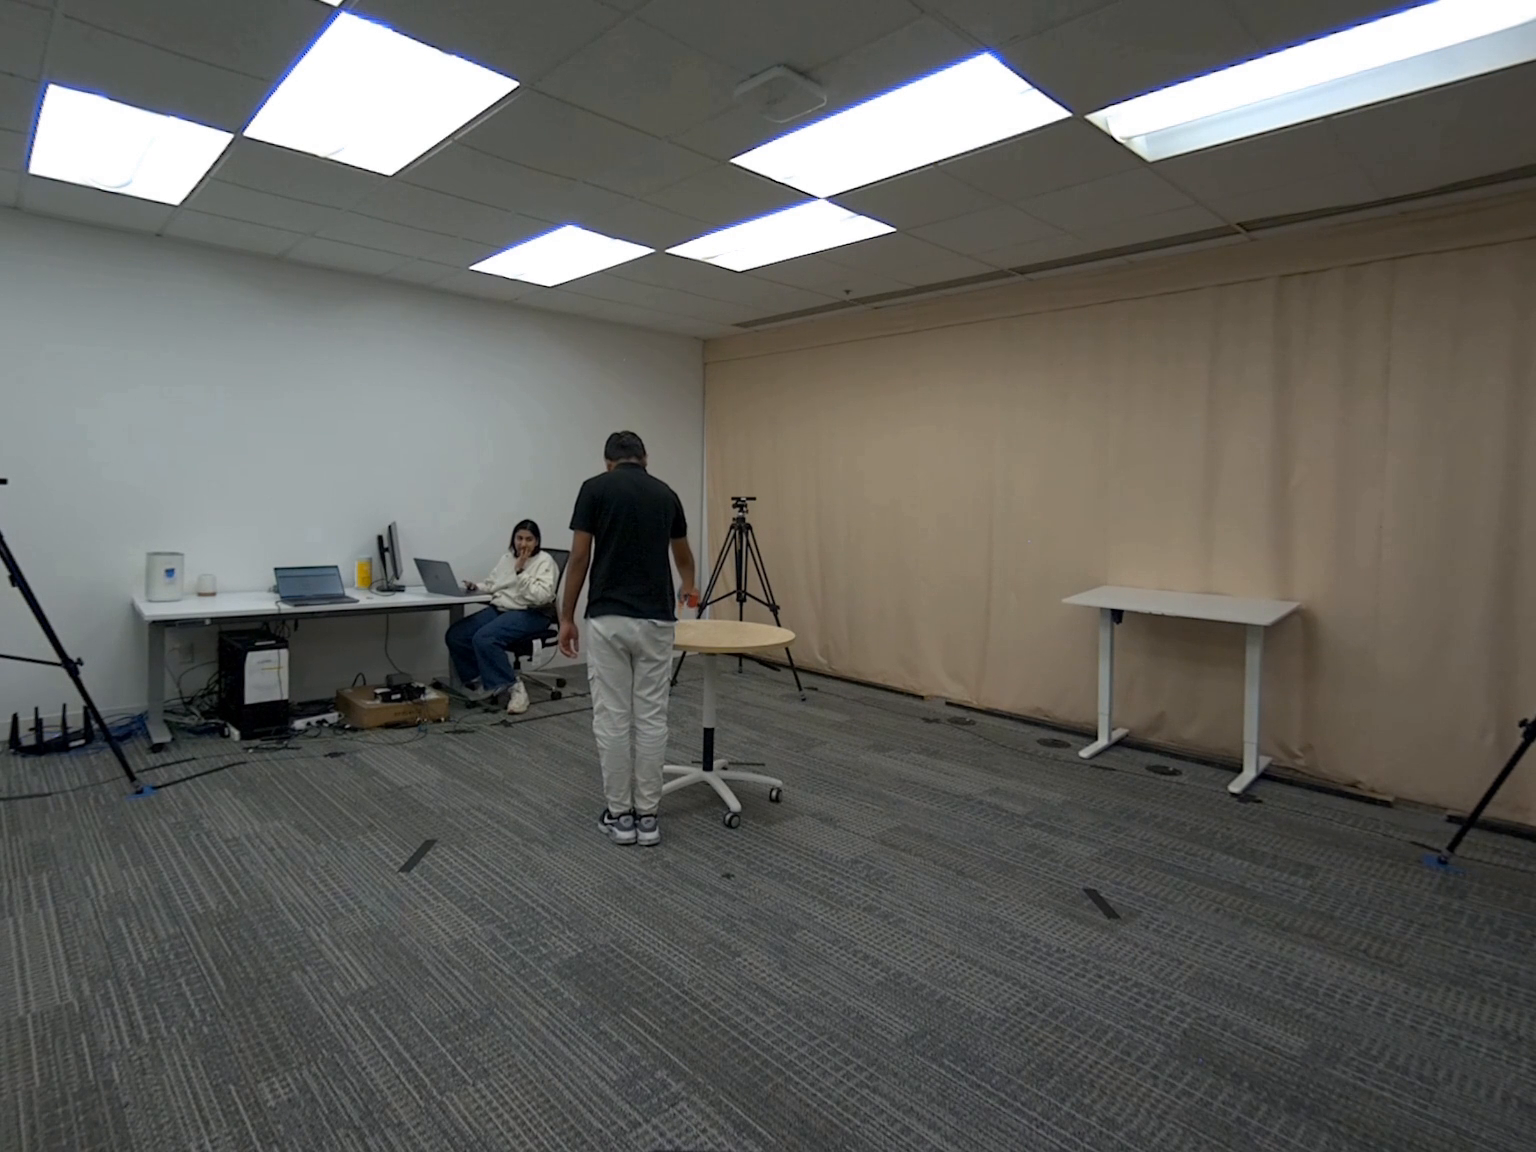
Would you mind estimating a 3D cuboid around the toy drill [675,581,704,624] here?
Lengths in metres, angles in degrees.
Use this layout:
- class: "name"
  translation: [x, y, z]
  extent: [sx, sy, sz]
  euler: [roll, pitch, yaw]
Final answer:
- class: "toy drill"
  translation: [-0.389, 0.112, 4.050]
  extent: [0.060, 0.168, 0.150]
  euler: [6, 26, -30]
